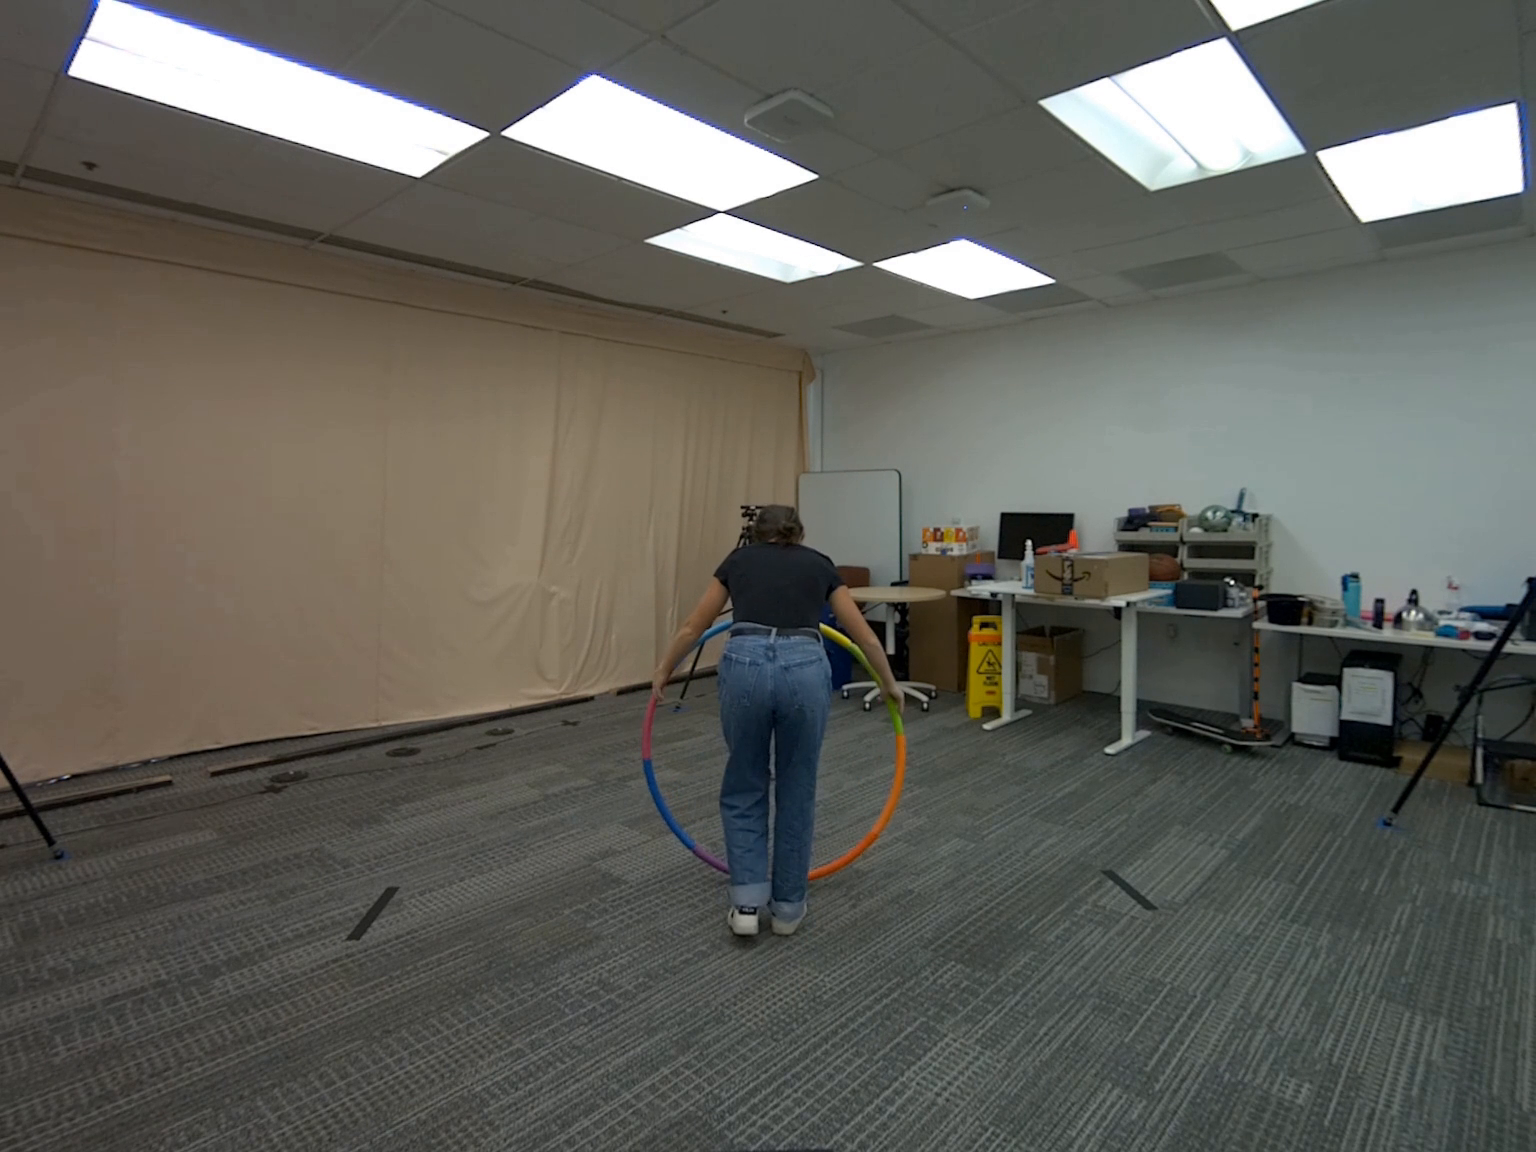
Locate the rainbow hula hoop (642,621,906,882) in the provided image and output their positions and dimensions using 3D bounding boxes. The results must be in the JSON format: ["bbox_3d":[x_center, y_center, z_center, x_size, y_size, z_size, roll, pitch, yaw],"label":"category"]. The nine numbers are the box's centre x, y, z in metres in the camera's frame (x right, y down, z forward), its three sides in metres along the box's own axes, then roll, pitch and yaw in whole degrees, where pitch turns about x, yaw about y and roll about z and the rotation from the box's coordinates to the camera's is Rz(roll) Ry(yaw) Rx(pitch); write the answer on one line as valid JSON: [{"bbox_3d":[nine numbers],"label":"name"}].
[{"bbox_3d":[0.019,0.628,3.140,0.985,0.982,0.035,0,-6,6],"label":"rainbow hula hoop"}]
